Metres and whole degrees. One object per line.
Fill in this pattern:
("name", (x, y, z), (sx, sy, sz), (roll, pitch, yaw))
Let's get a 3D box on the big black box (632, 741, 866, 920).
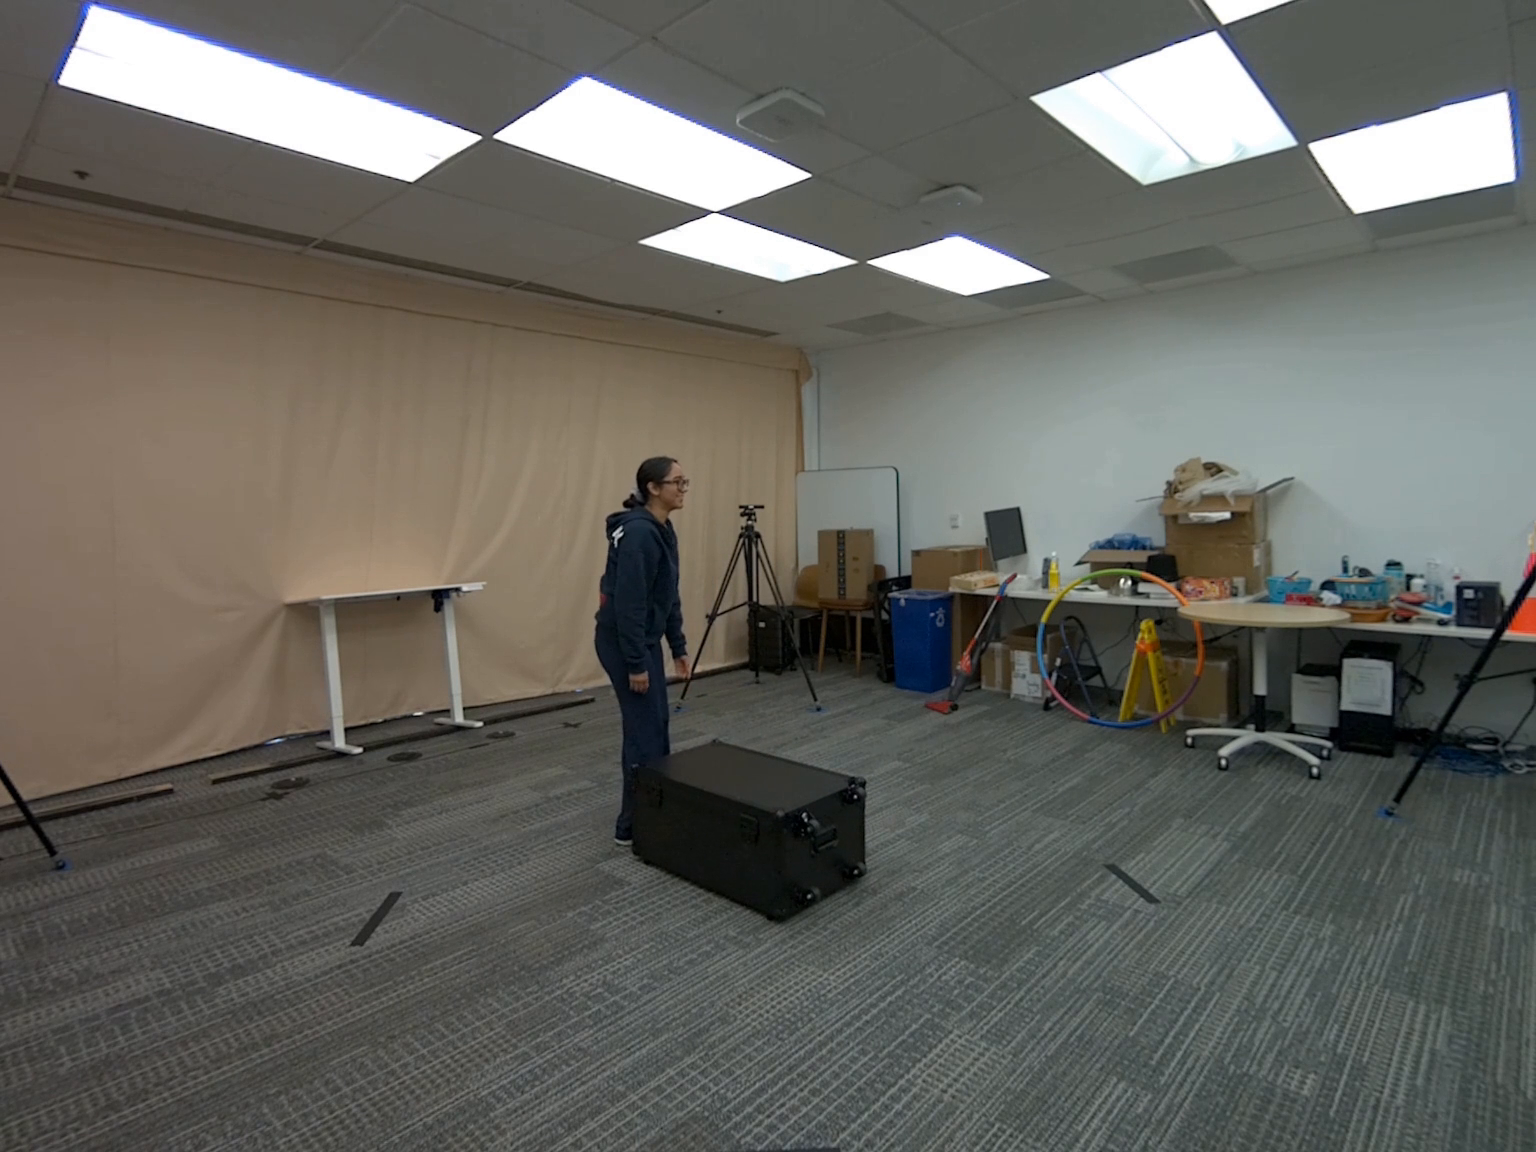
("big black box", (-0.065, 0.935, 3.183), (0.890, 0.395, 0.506), (2, 6, 43))
